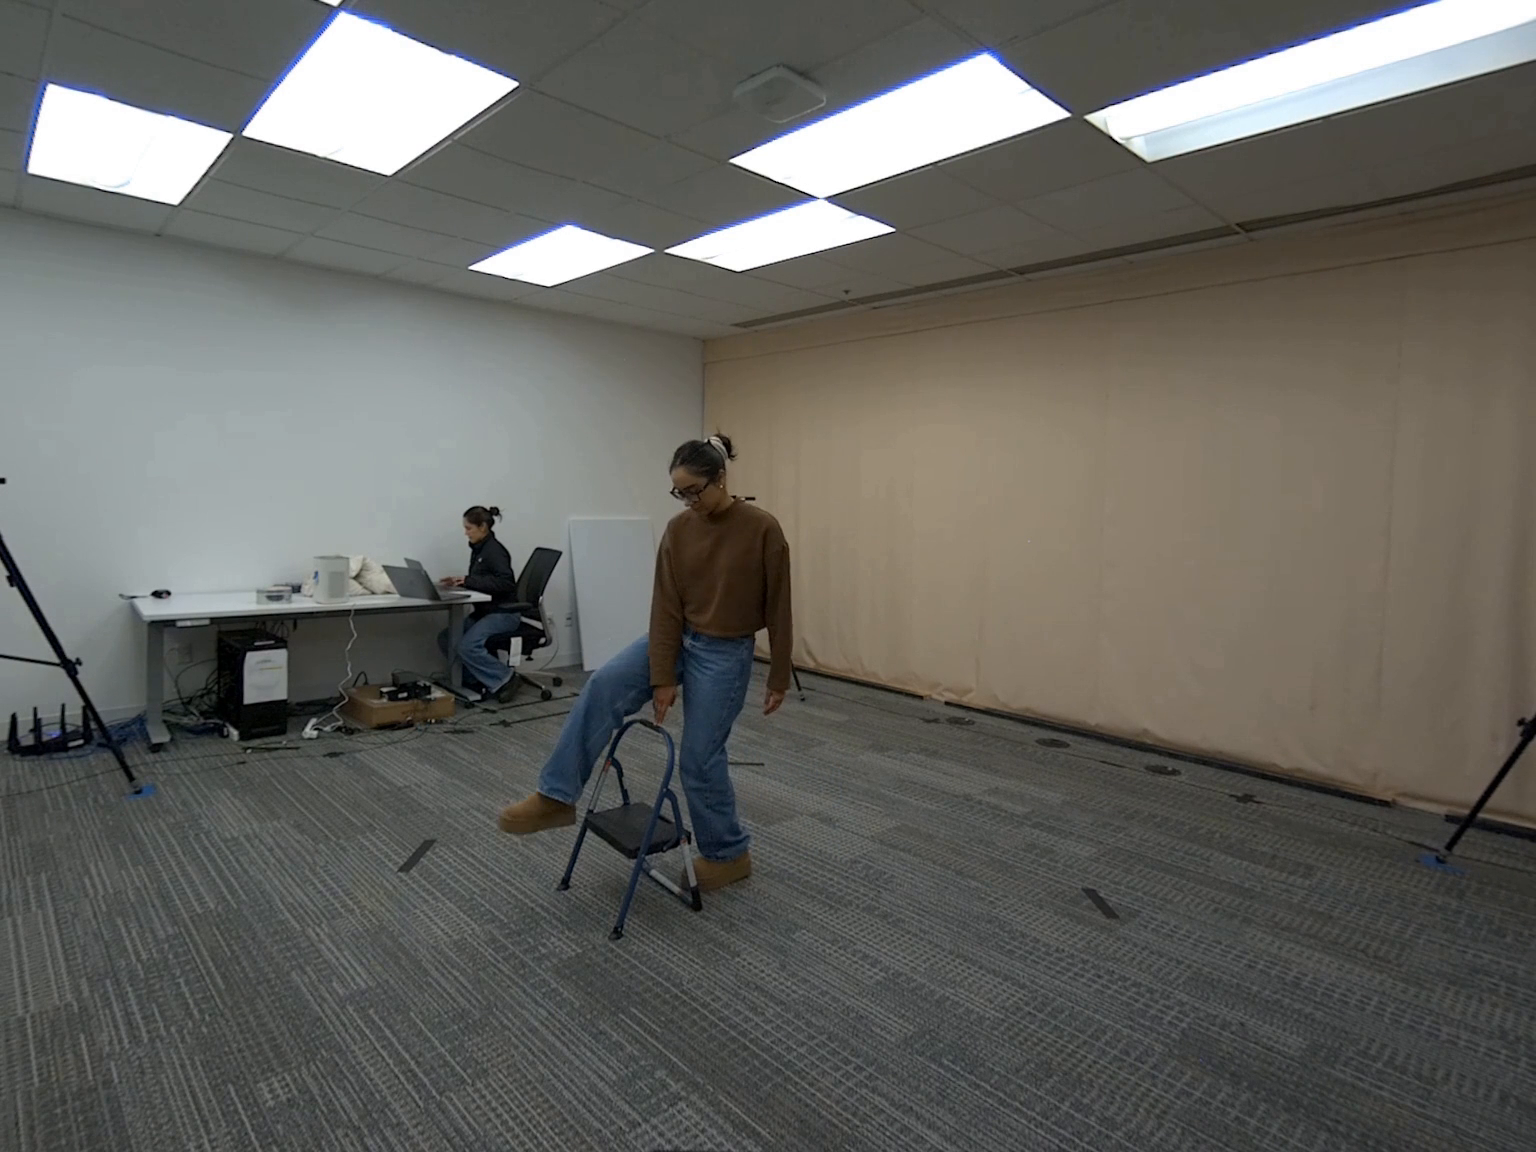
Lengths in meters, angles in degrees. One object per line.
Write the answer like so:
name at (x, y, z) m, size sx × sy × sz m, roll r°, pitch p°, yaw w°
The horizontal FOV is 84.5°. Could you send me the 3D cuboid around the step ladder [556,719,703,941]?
step ladder at (-0.476, 0.815, 2.885) m, size 0.341 × 0.605 × 0.441 m, roll -1°, pitch 4°, yaw -38°
